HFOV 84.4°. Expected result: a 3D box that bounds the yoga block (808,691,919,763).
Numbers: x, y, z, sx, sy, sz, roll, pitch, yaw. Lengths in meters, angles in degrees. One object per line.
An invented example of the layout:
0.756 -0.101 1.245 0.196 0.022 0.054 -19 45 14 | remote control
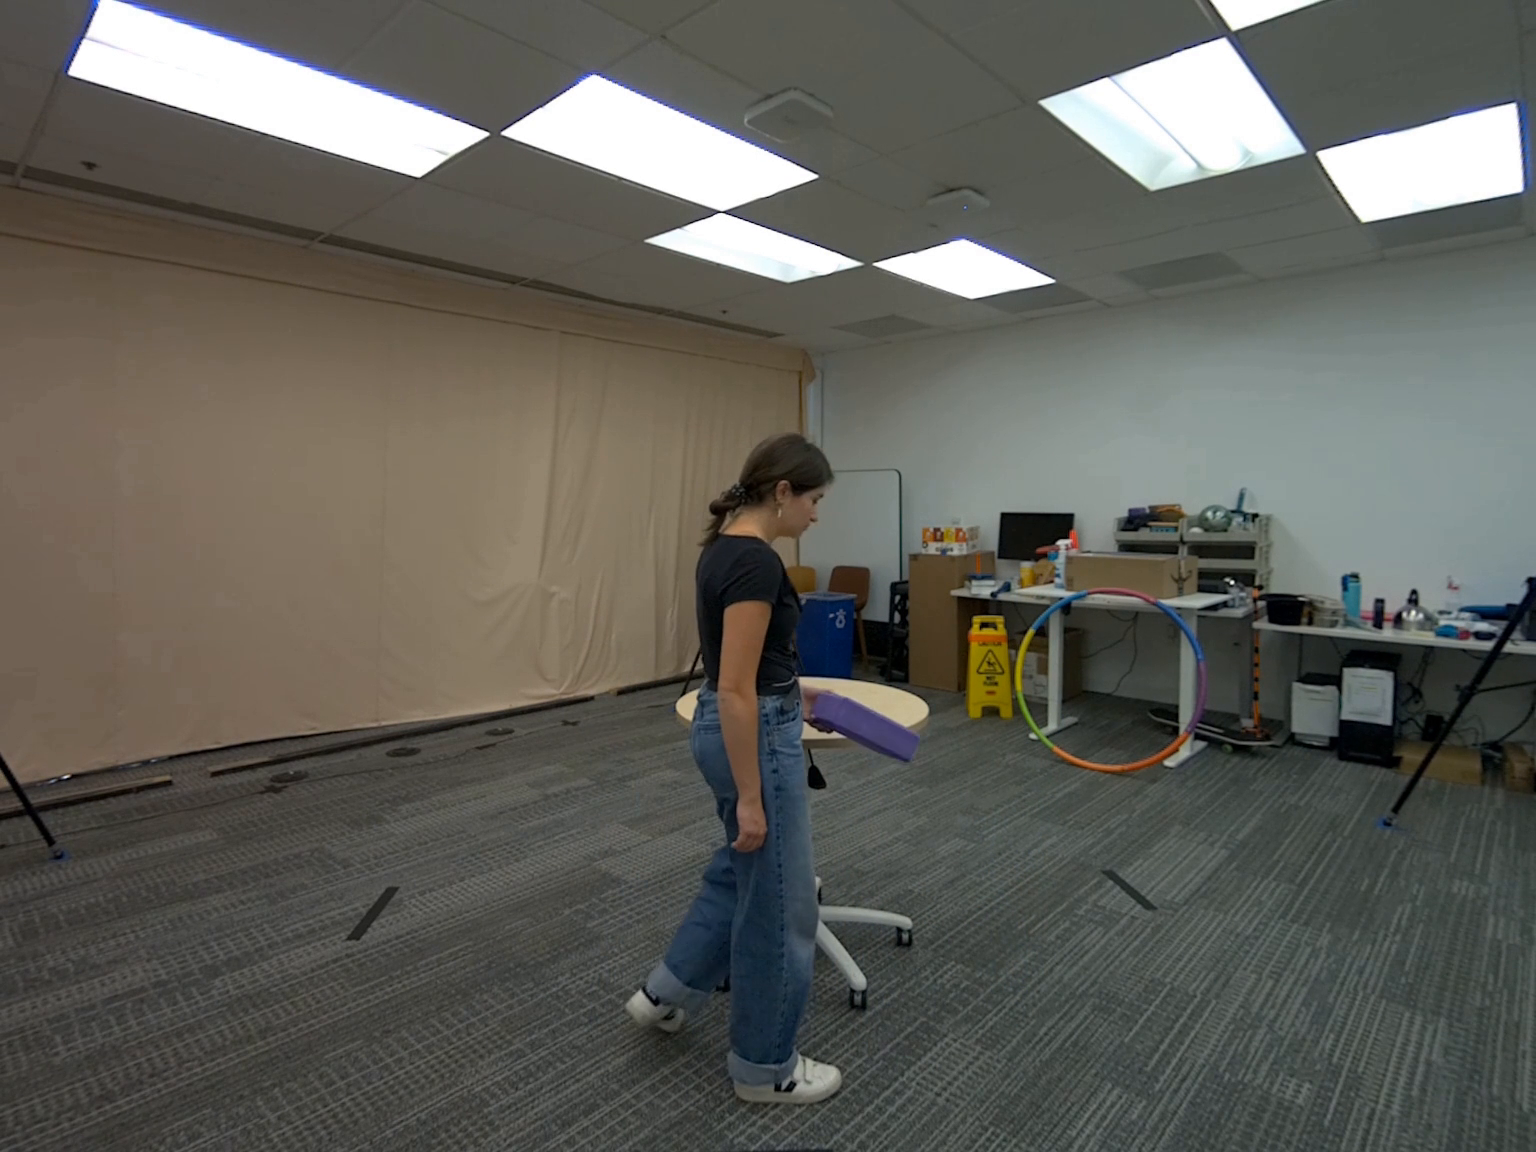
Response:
0.248 0.372 2.063 0.226 0.076 0.151 29 -12 -12 | yoga block
